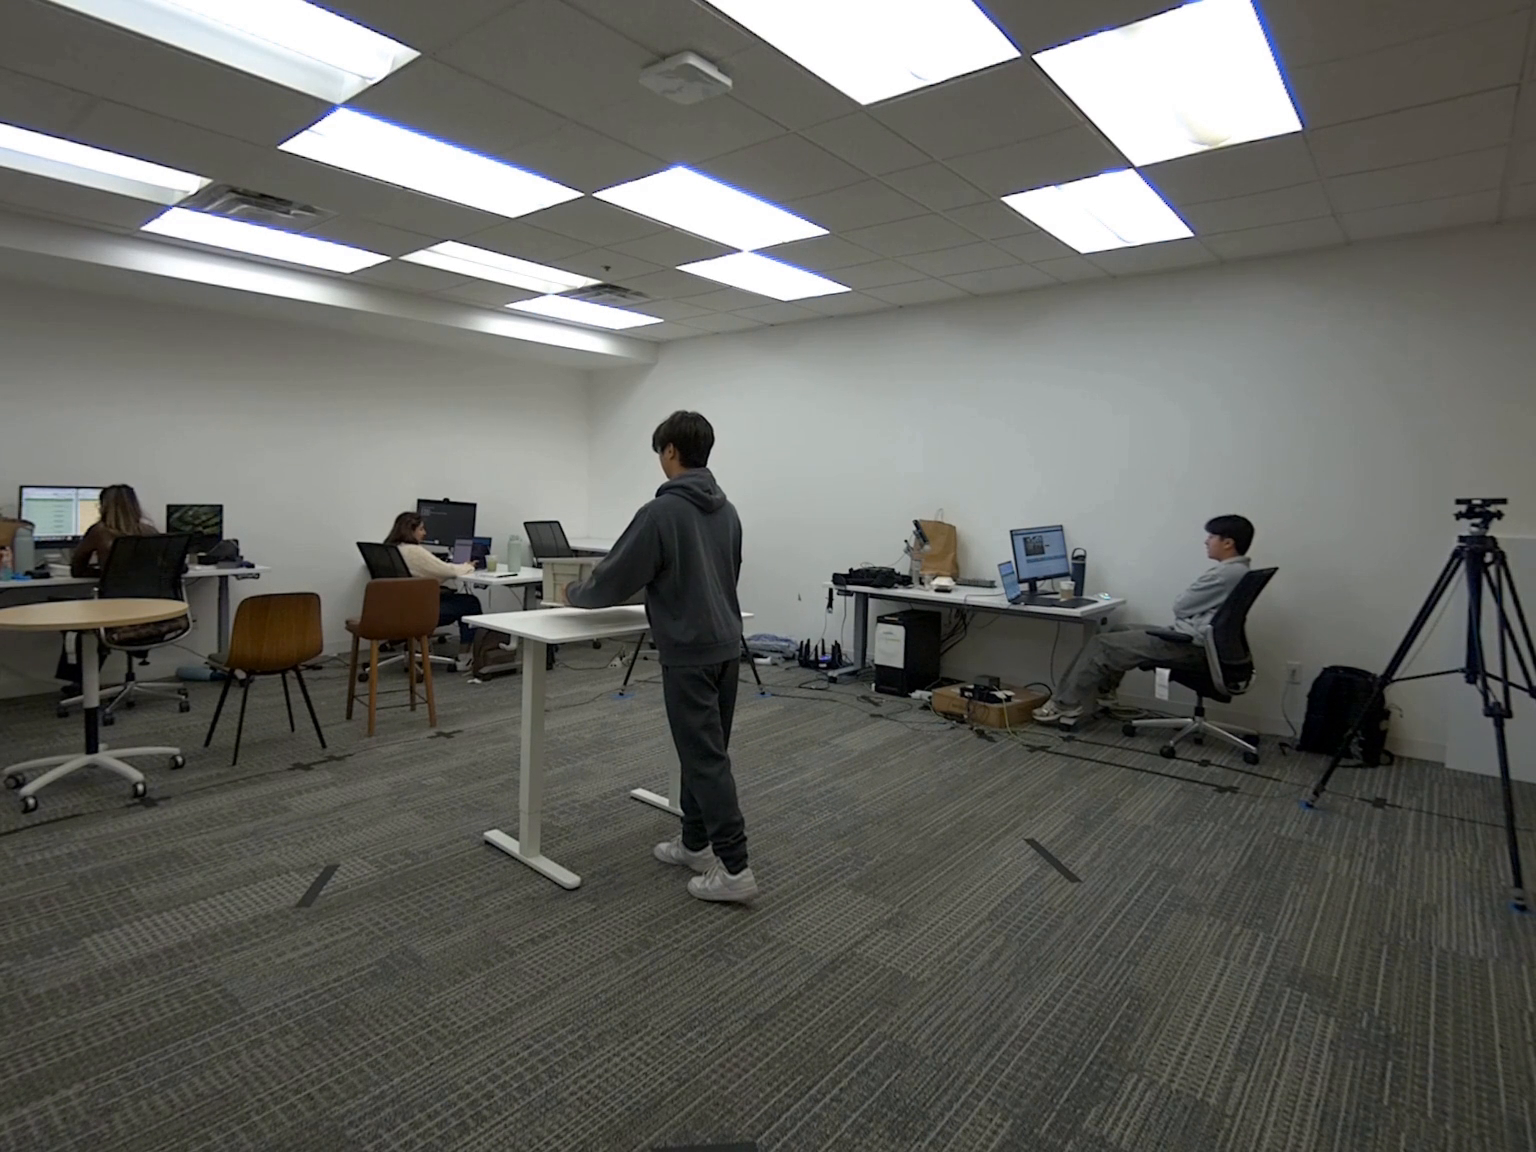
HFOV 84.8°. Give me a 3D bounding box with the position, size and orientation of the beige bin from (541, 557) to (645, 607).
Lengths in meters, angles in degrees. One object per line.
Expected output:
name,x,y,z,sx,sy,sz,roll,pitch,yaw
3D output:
beige bin,-0.628,0.022,3.344,0.389,0.189,0.409,1,2,42
